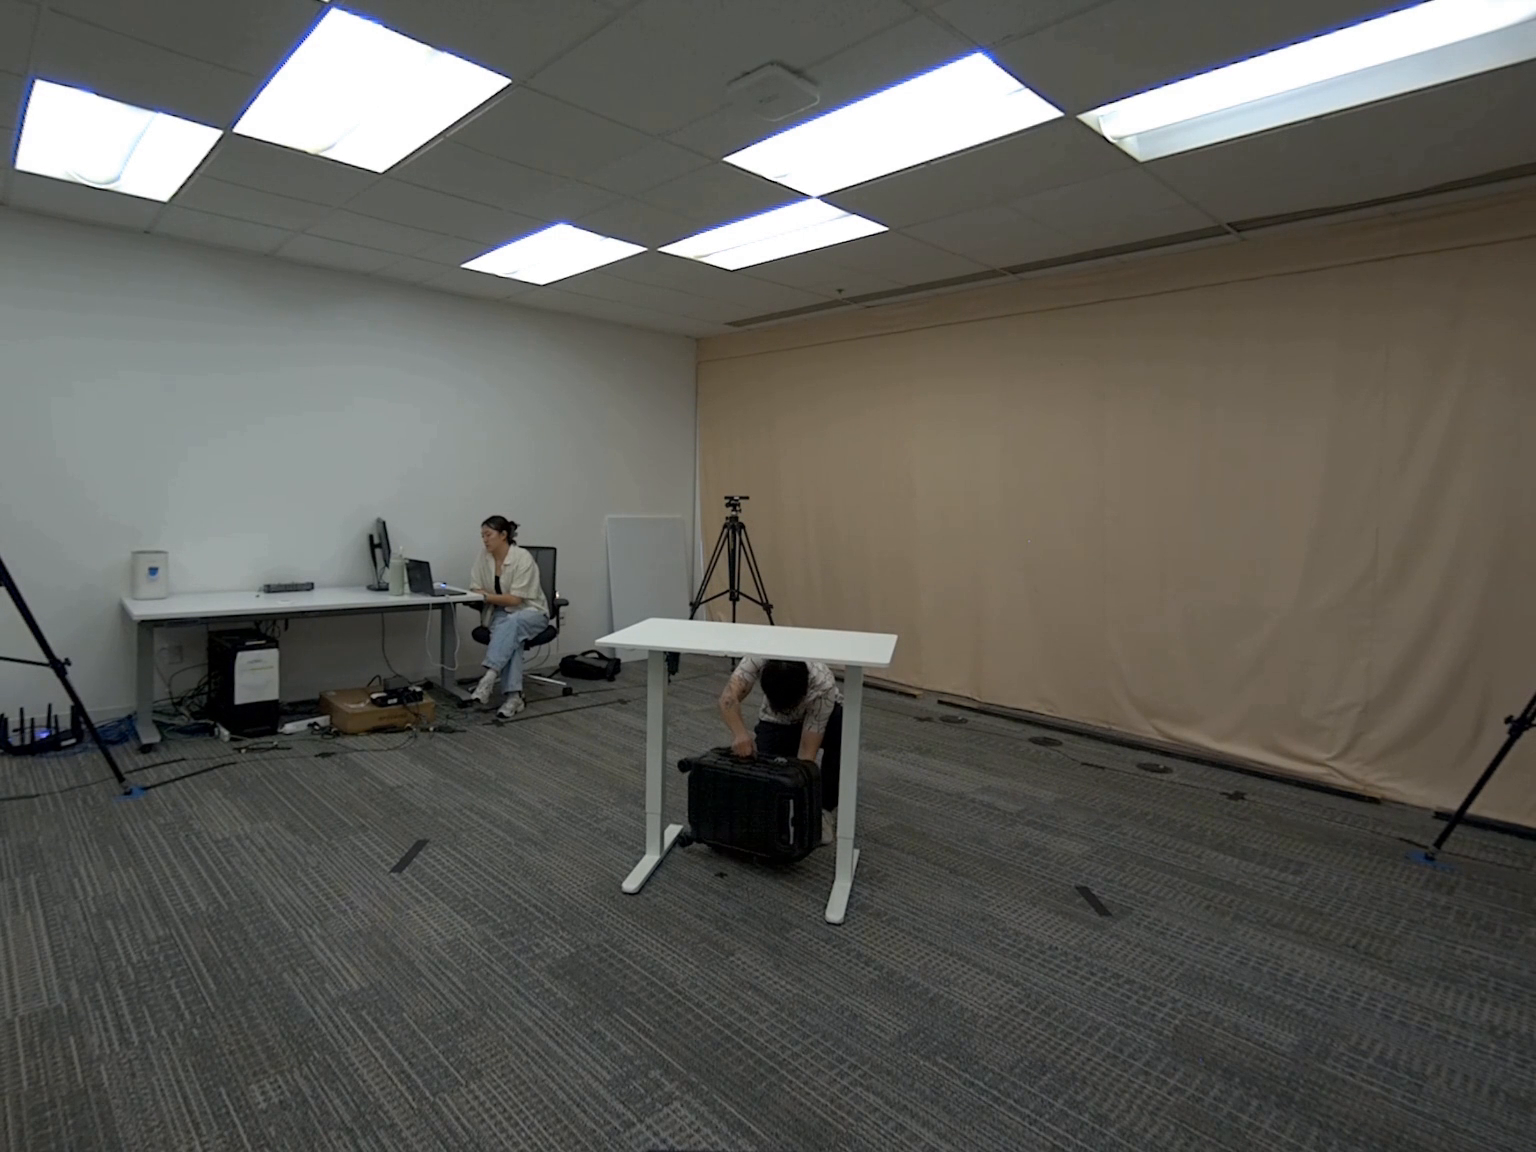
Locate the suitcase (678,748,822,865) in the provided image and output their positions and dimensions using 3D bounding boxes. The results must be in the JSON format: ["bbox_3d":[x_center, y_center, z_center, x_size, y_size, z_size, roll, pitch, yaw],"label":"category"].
[{"bbox_3d":[-0.071,0.858,3.227,0.561,0.375,0.243,-1,0,37],"label":"suitcase"}]
